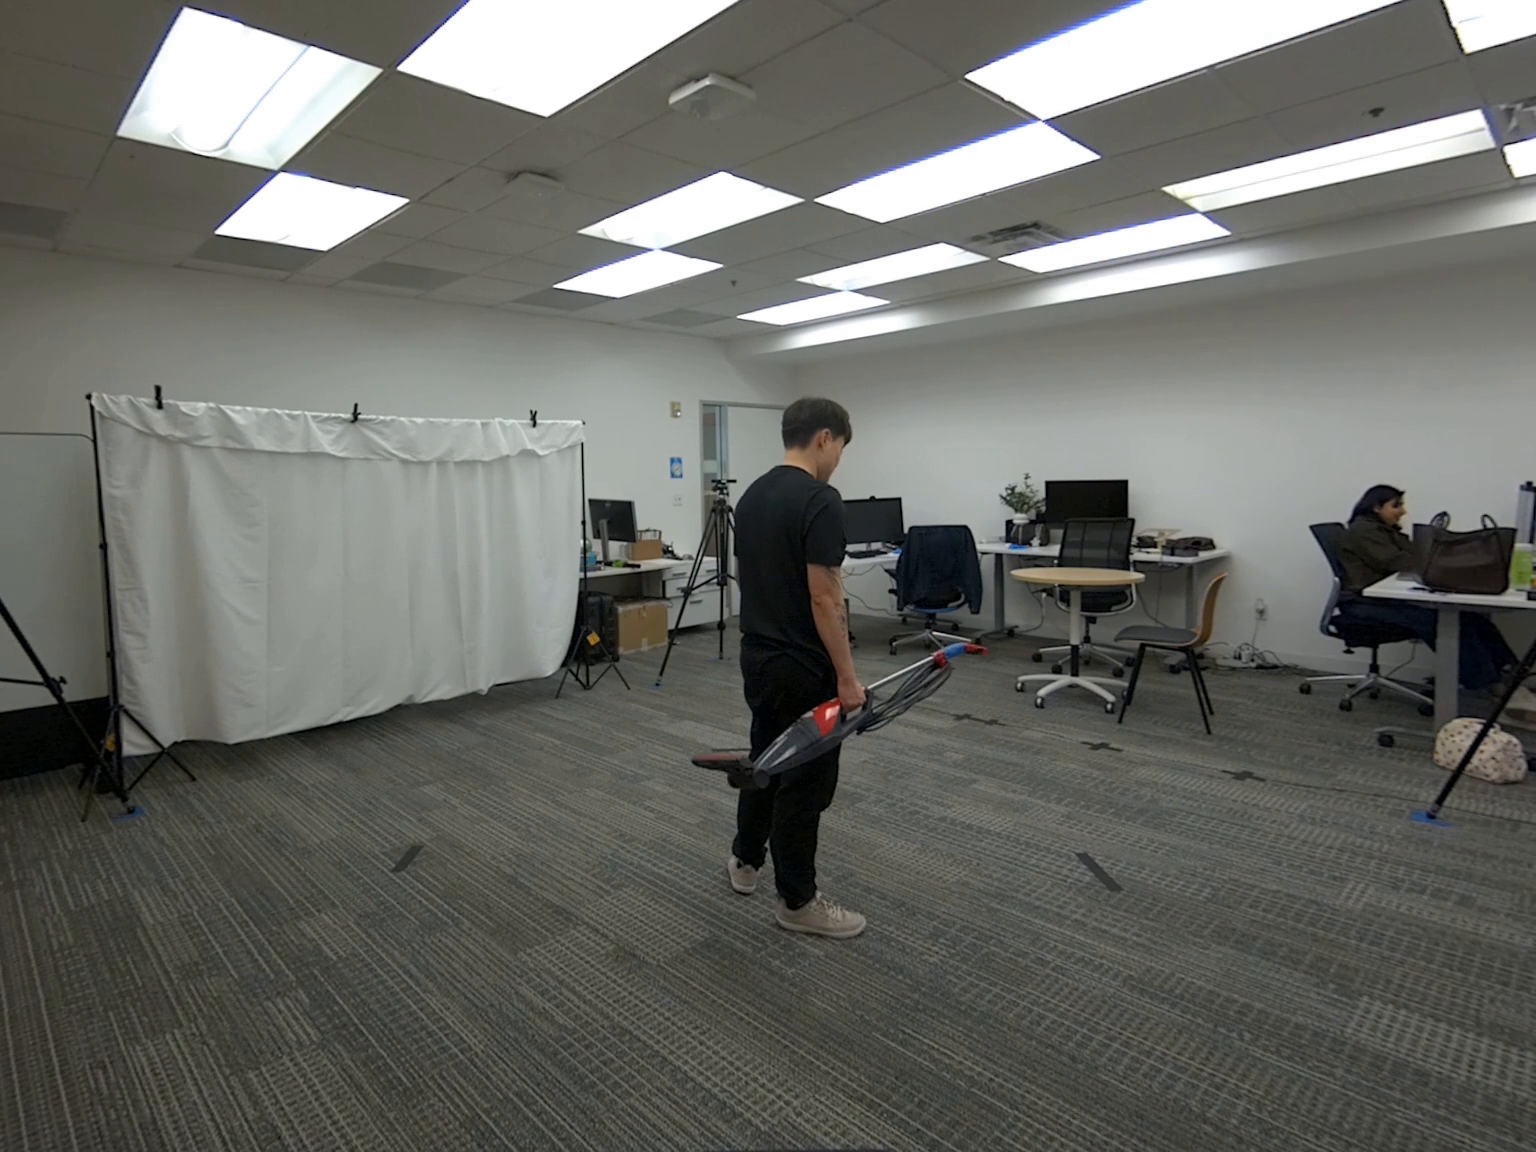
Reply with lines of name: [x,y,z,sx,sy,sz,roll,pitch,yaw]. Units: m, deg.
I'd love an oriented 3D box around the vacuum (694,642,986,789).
vacuum: [0.318,0.383,2.540,1.030,0.144,0.257,-19,1,-33]
